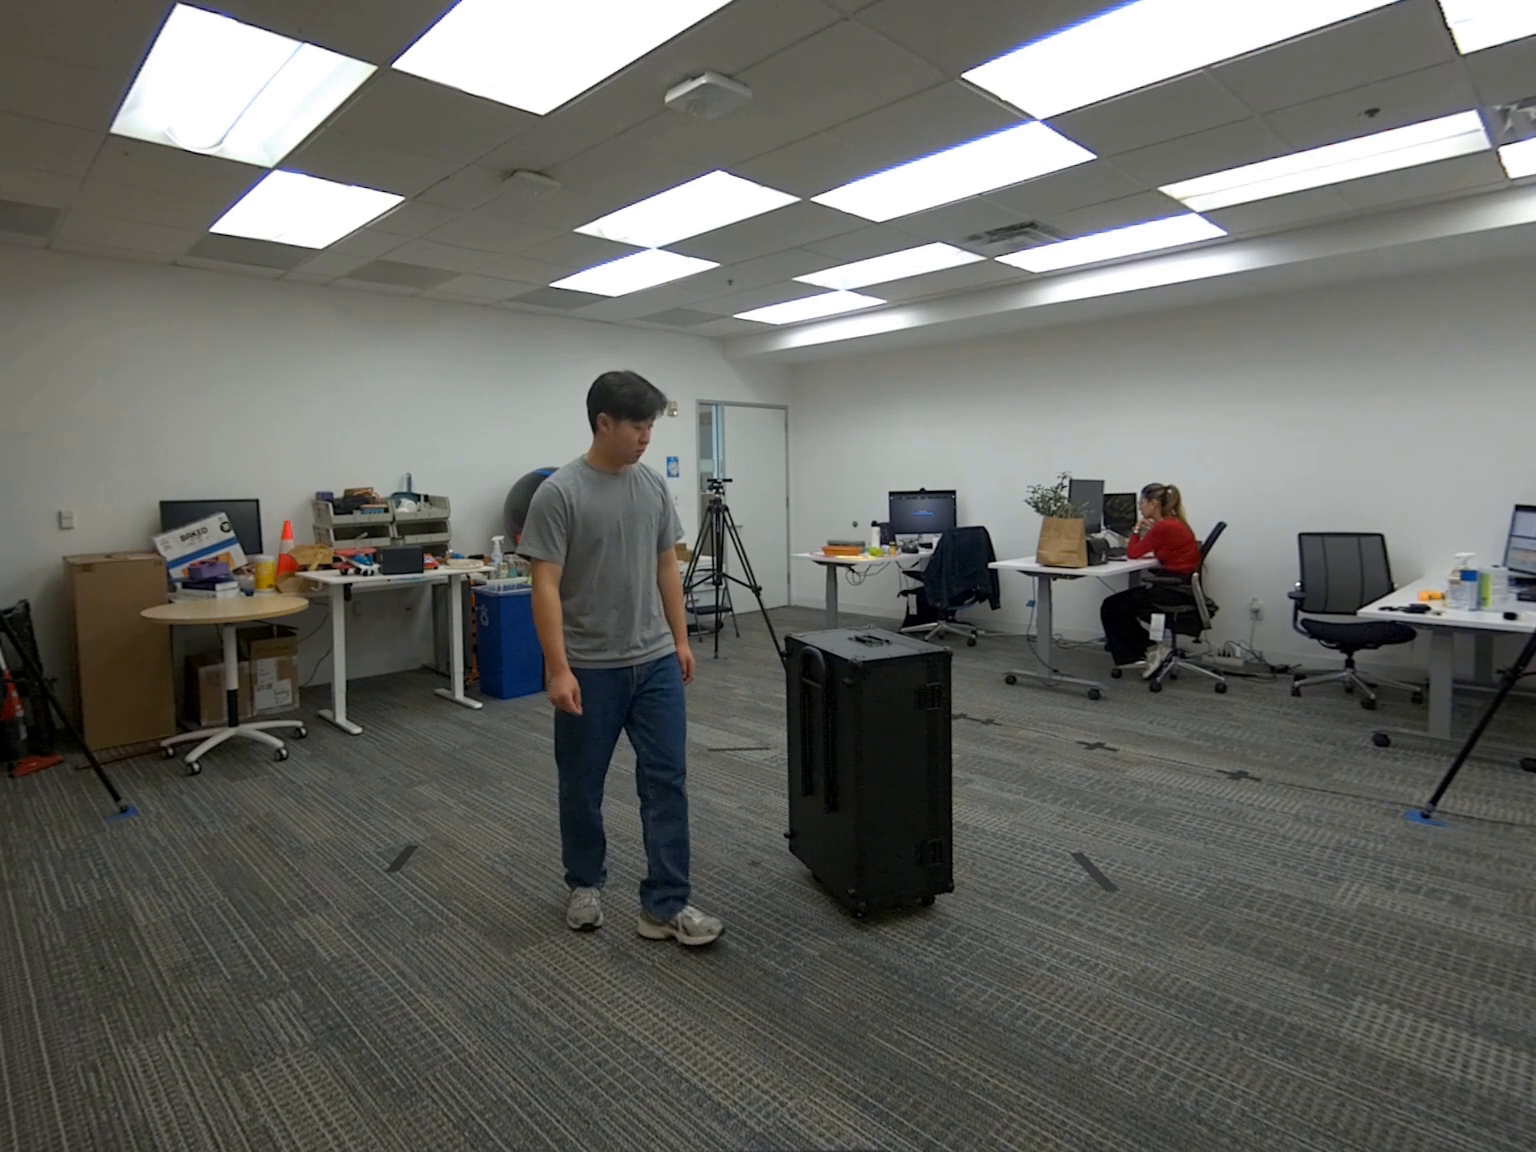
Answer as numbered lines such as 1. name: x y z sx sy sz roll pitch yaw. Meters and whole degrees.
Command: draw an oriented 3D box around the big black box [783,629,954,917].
1. big black box: 0.324 0.642 2.854 0.389 0.857 0.534 -4 6 -23
